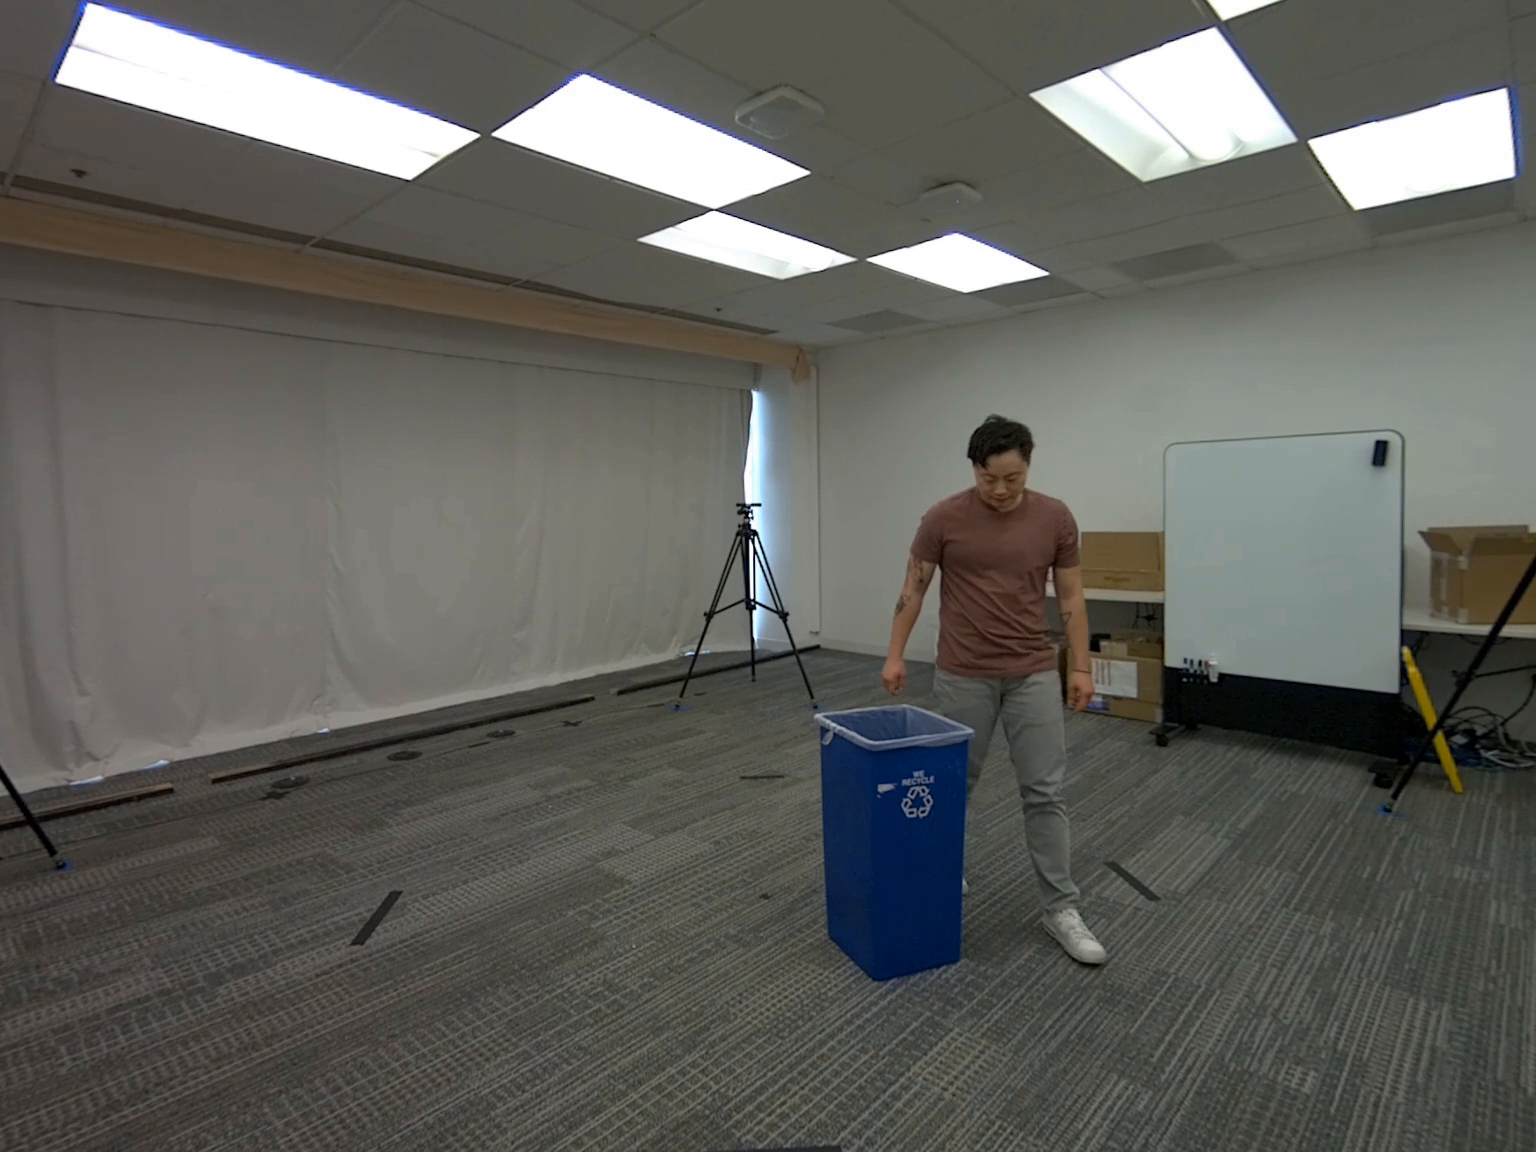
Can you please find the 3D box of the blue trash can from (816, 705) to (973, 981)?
[{"bbox_3d":[0.393,0.802,2.609,0.366,0.712,0.387,-3,4,-23],"label":"blue trash can"}]
